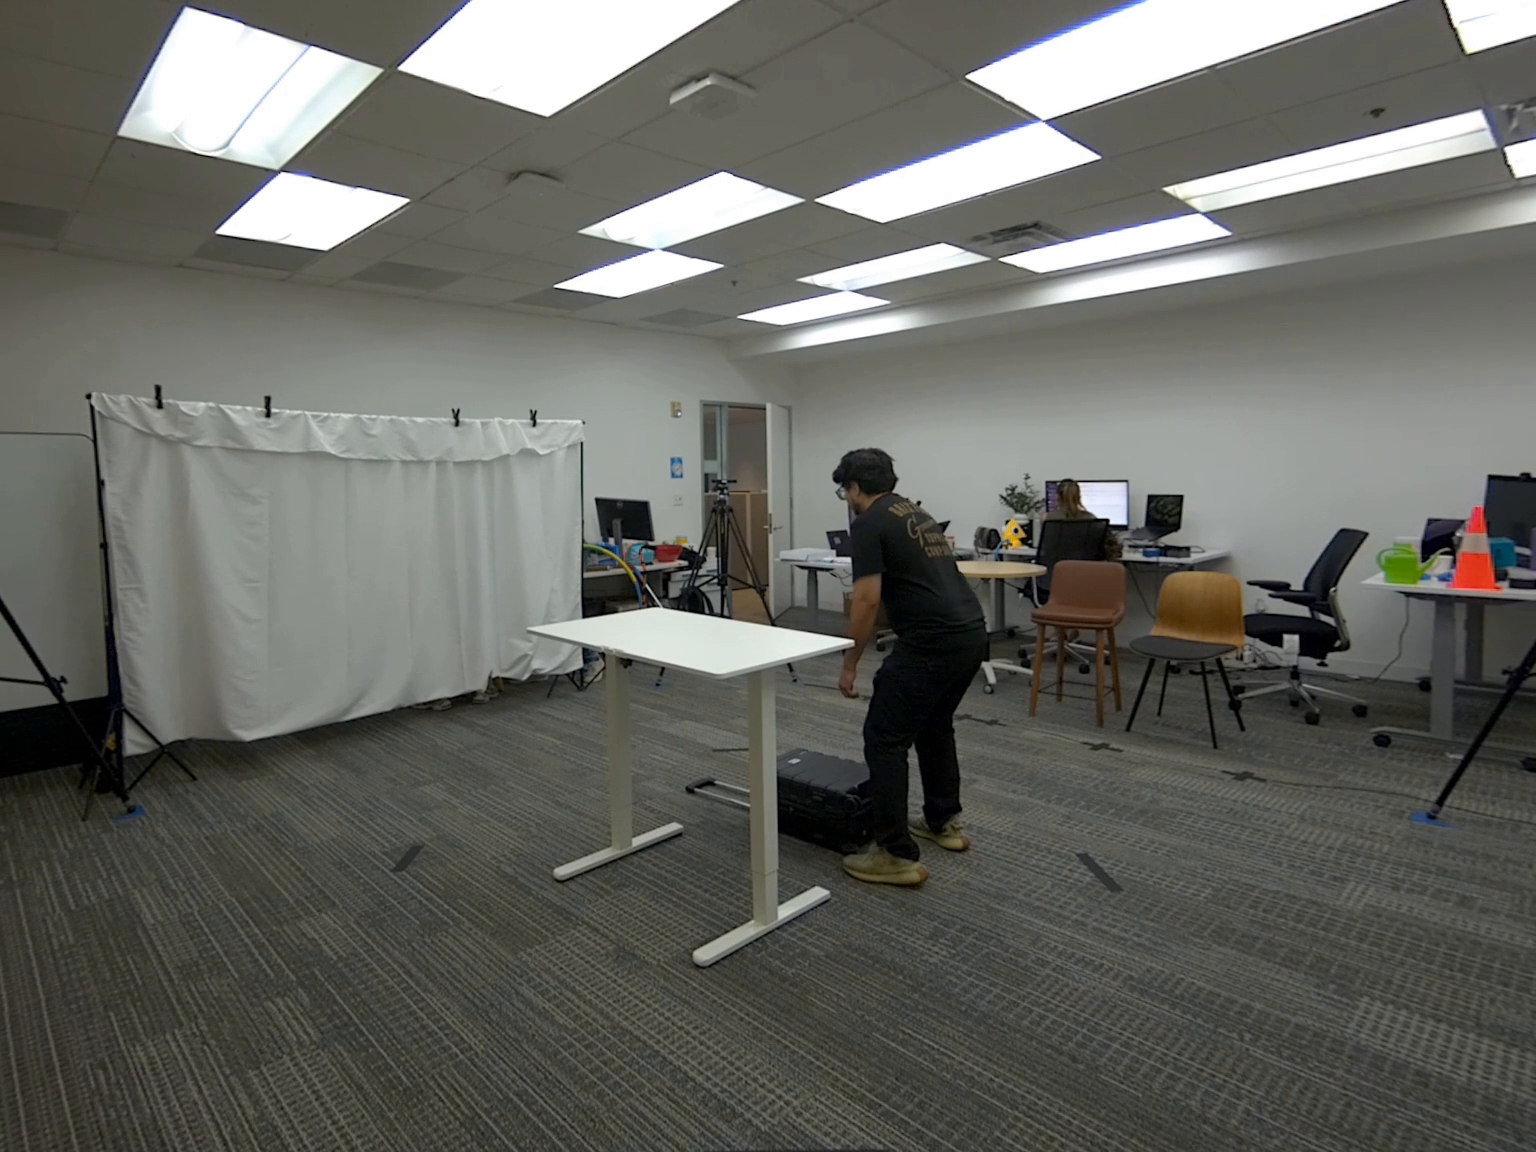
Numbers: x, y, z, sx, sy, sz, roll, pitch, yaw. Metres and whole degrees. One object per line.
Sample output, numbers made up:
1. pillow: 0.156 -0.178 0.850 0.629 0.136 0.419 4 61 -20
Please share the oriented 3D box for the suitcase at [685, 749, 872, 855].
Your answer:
1. suitcase: 0.060 0.872 3.567 1.009 0.255 0.374 6 10 41
